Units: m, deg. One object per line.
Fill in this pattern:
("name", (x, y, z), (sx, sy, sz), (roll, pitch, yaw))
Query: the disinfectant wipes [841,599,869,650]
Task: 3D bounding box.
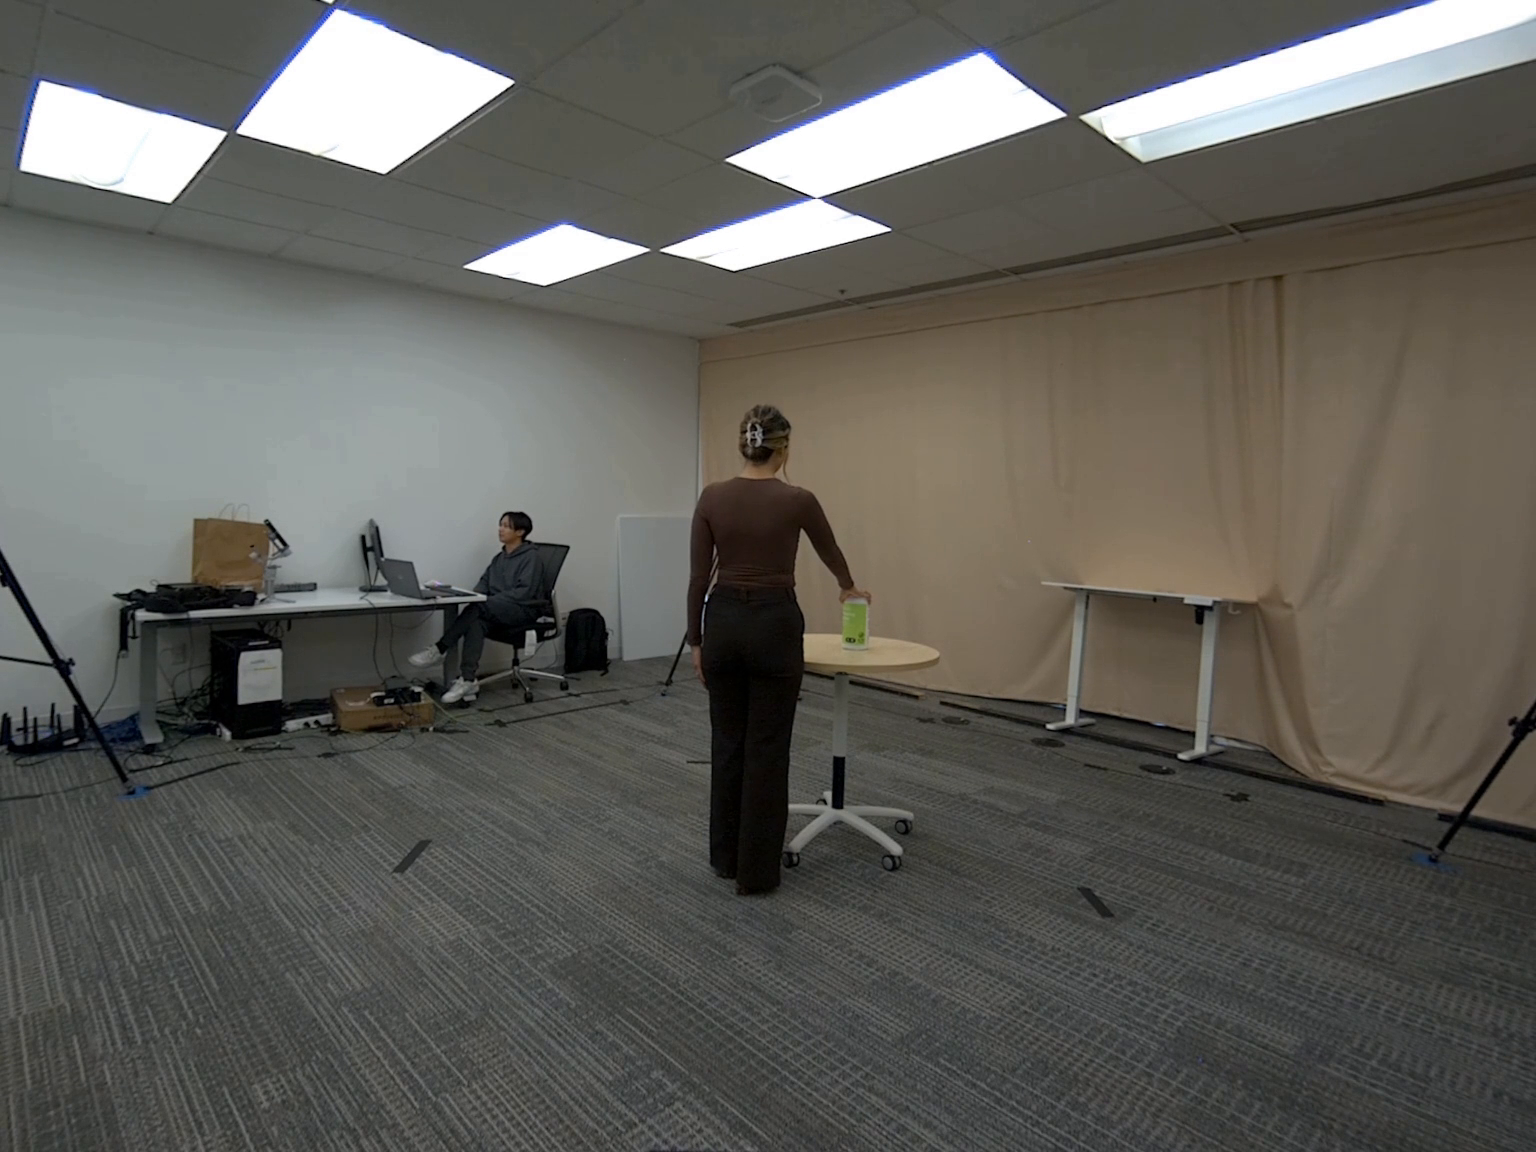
("disinfectant wipes", (0.349, 0.187, 3.420), (0.118, 0.217, 0.118), (-1, 5, -1))
